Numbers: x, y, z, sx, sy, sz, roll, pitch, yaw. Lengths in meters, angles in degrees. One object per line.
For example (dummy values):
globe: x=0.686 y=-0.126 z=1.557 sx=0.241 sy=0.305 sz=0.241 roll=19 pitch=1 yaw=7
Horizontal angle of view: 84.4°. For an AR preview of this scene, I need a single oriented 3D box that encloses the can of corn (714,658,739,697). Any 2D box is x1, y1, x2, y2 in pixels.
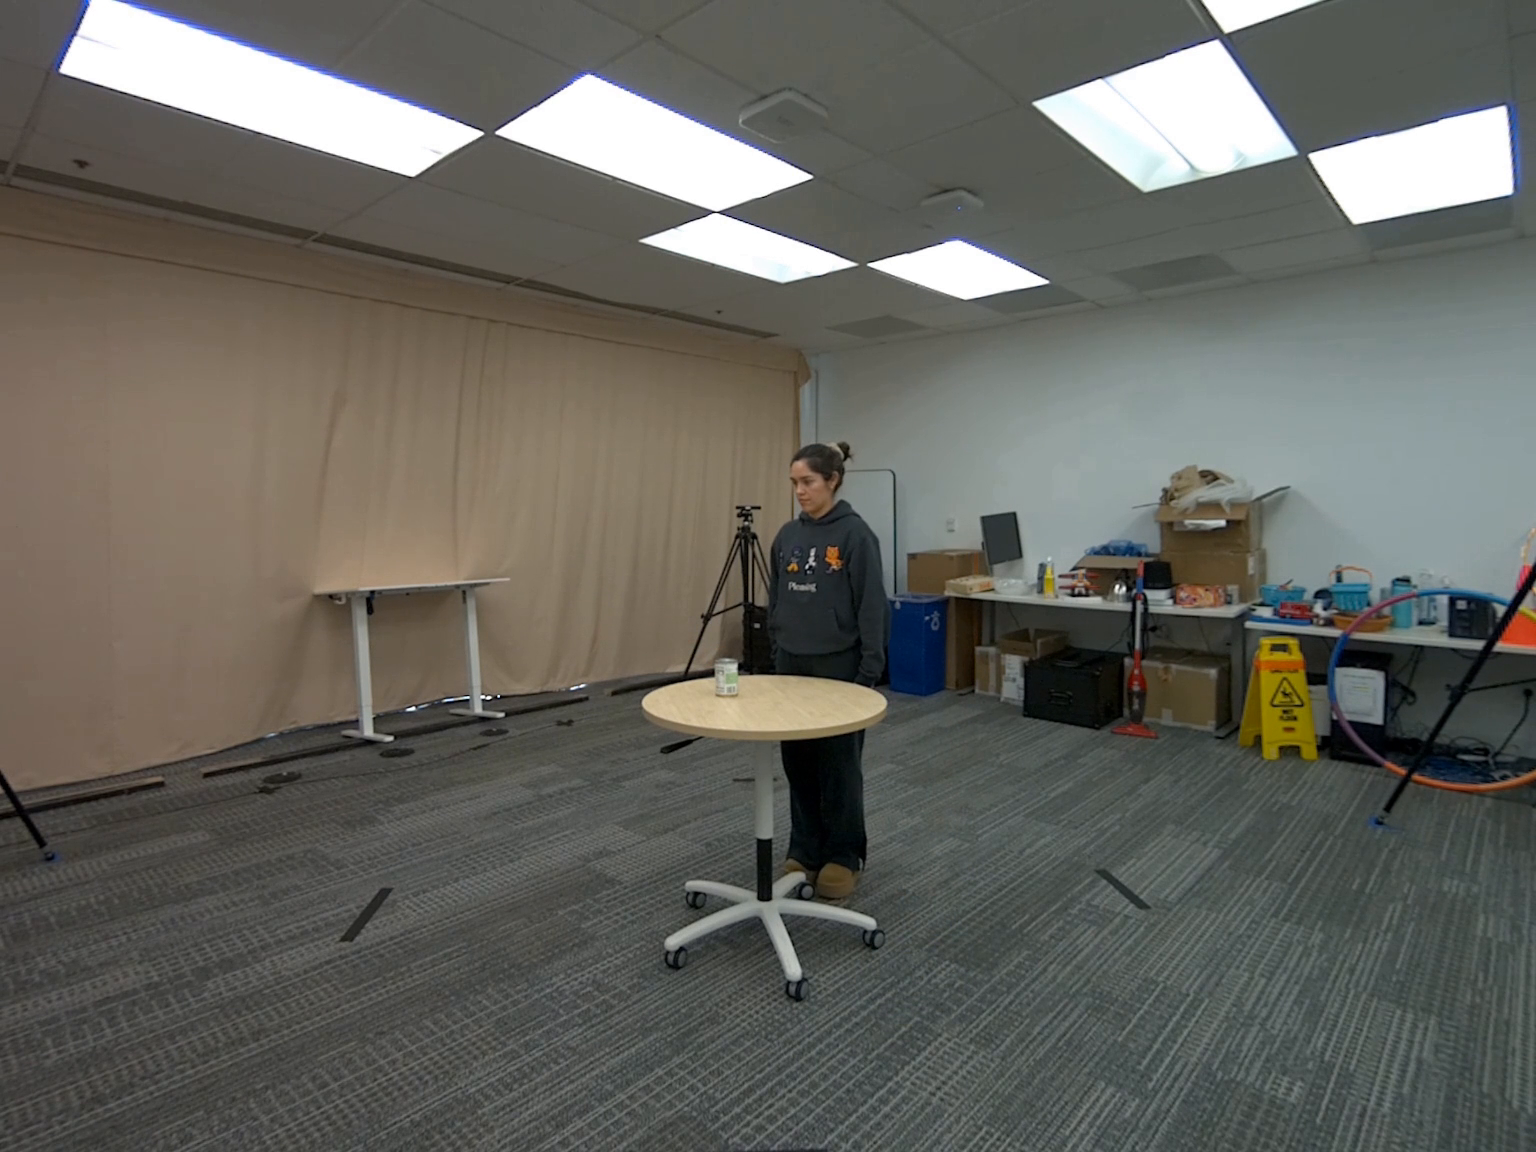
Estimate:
can of corn: x=-0.117 y=0.327 z=2.711 sx=0.074 sy=0.111 sz=0.074 roll=-1 pitch=2 yaw=-2
